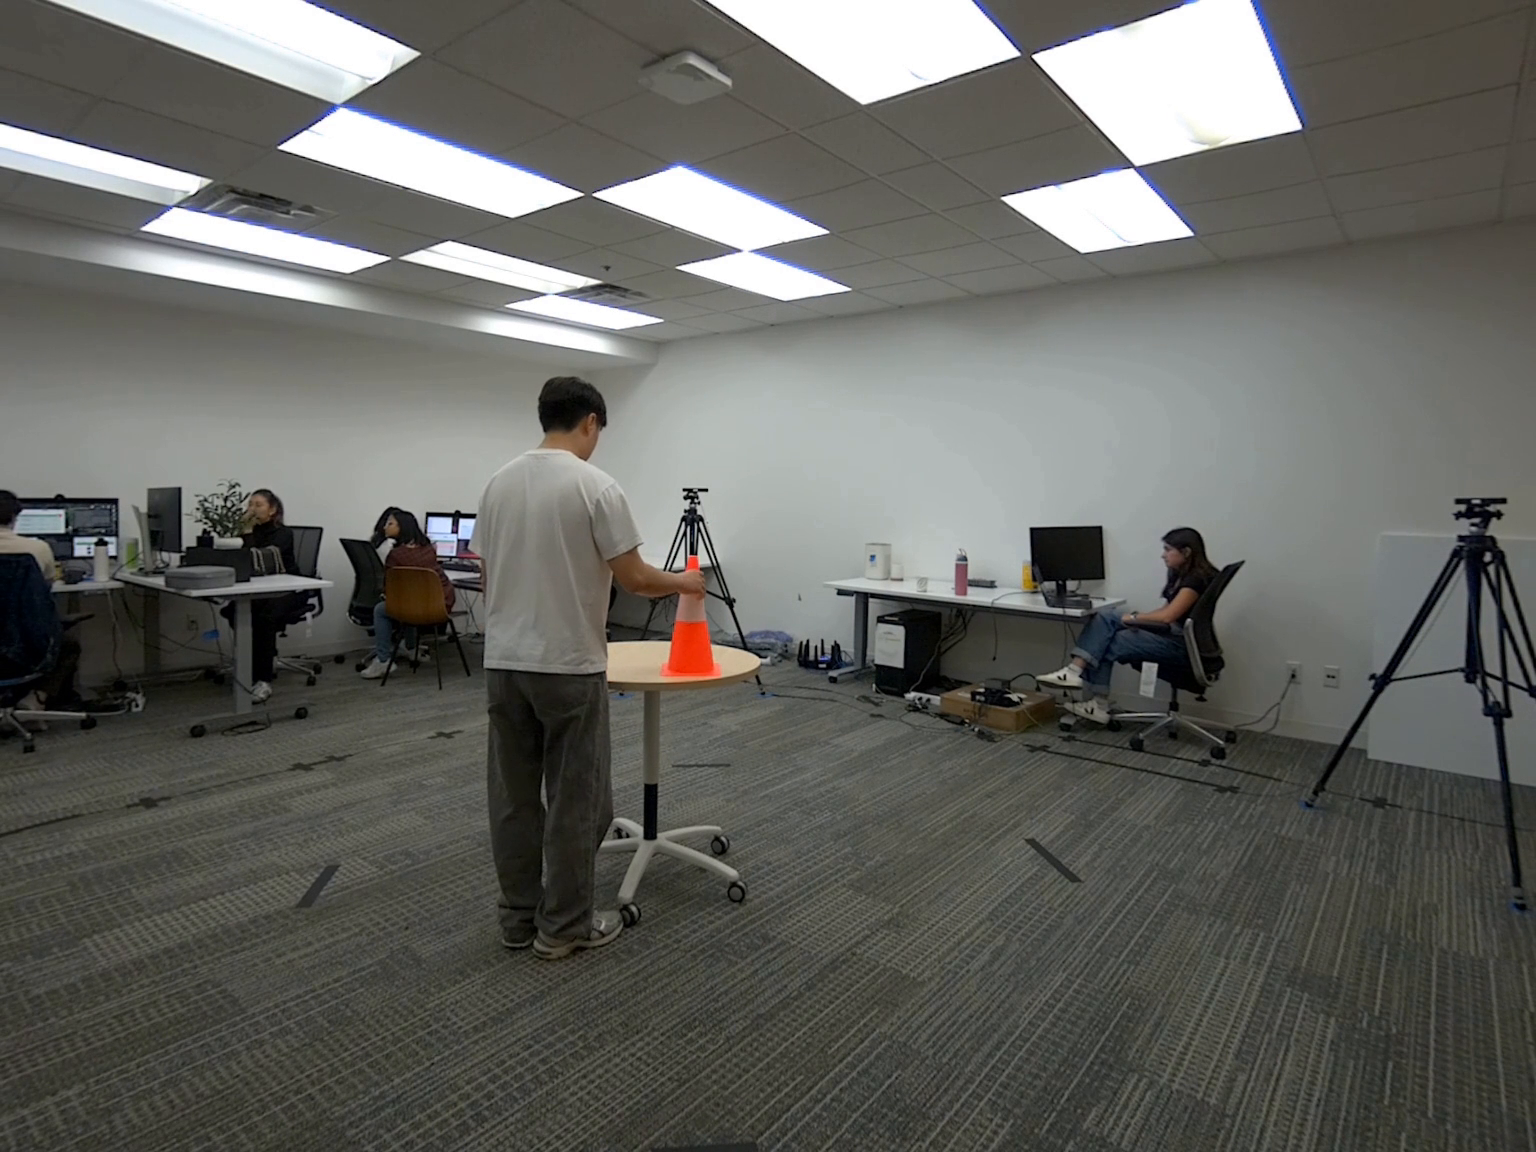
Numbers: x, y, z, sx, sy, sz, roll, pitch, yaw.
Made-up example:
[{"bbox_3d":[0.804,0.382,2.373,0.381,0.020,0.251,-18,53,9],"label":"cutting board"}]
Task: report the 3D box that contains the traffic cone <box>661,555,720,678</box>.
[{"bbox_3d":[-0.256,0.118,2.821,0.204,0.382,0.205,2,5,-3],"label":"traffic cone"}]
